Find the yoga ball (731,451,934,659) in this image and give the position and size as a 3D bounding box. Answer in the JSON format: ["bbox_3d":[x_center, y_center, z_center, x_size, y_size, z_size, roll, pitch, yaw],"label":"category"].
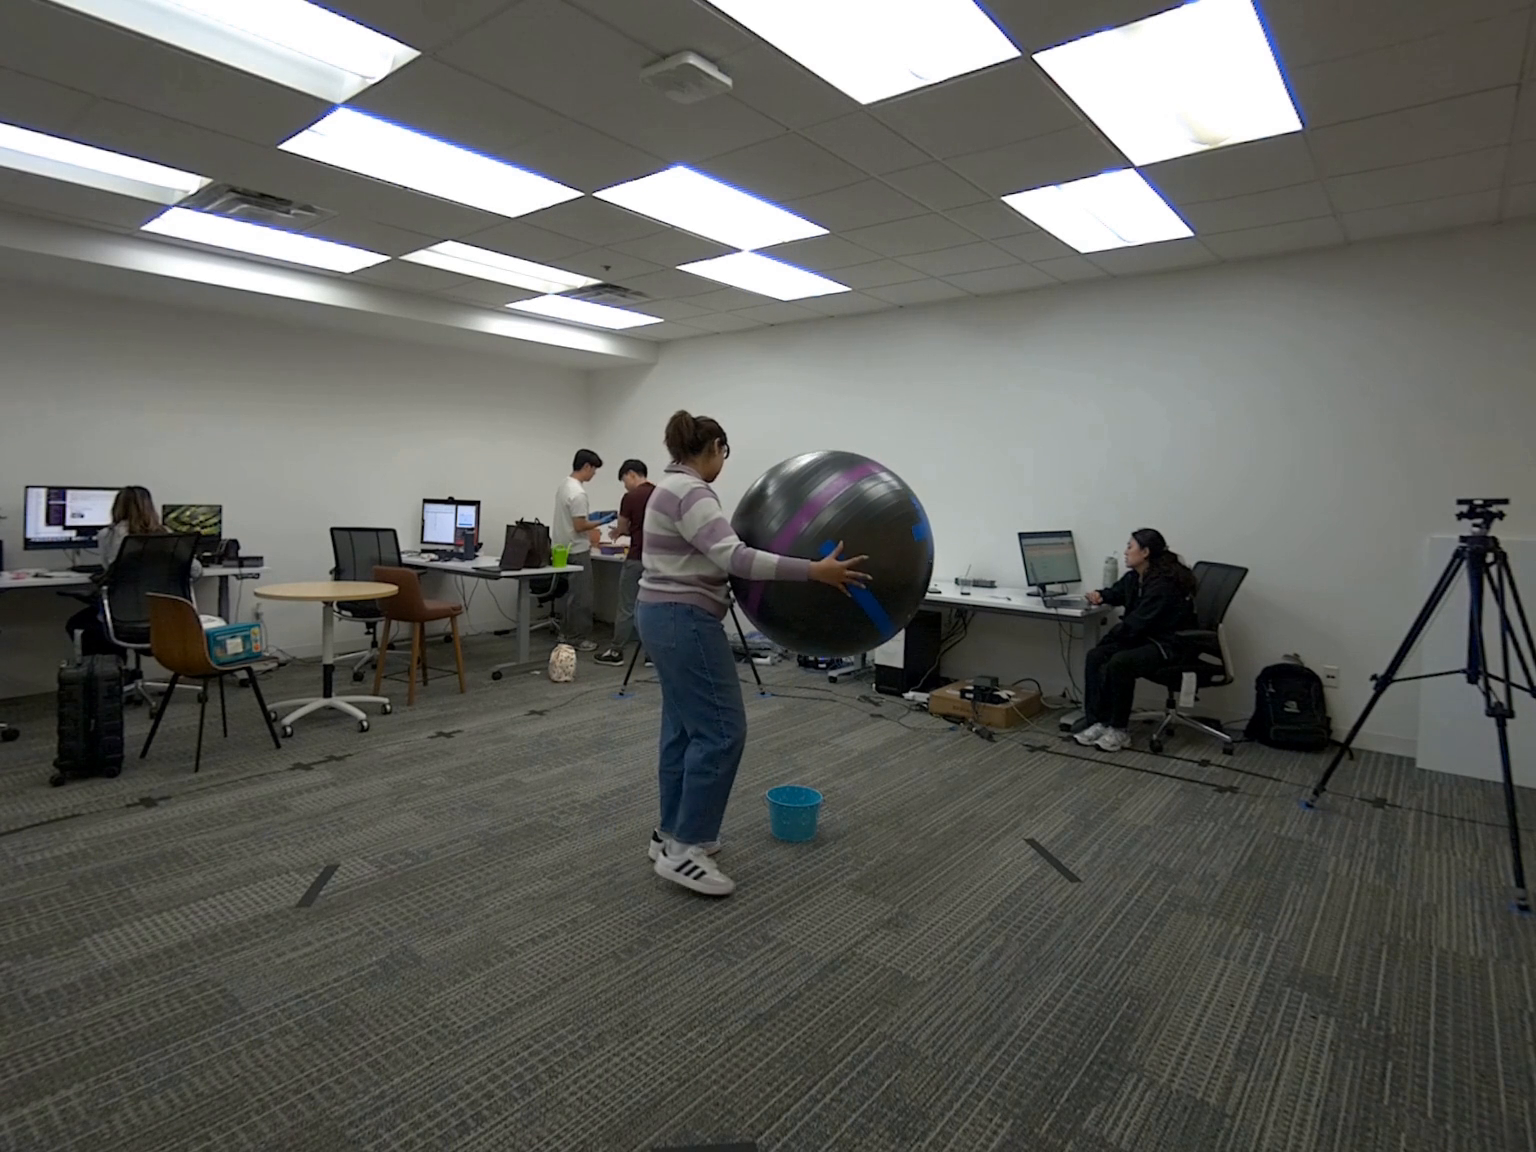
[{"bbox_3d":[0.218,-0.071,3.132,0.757,0.756,0.761,1,4,-2],"label":"yoga ball"}]
